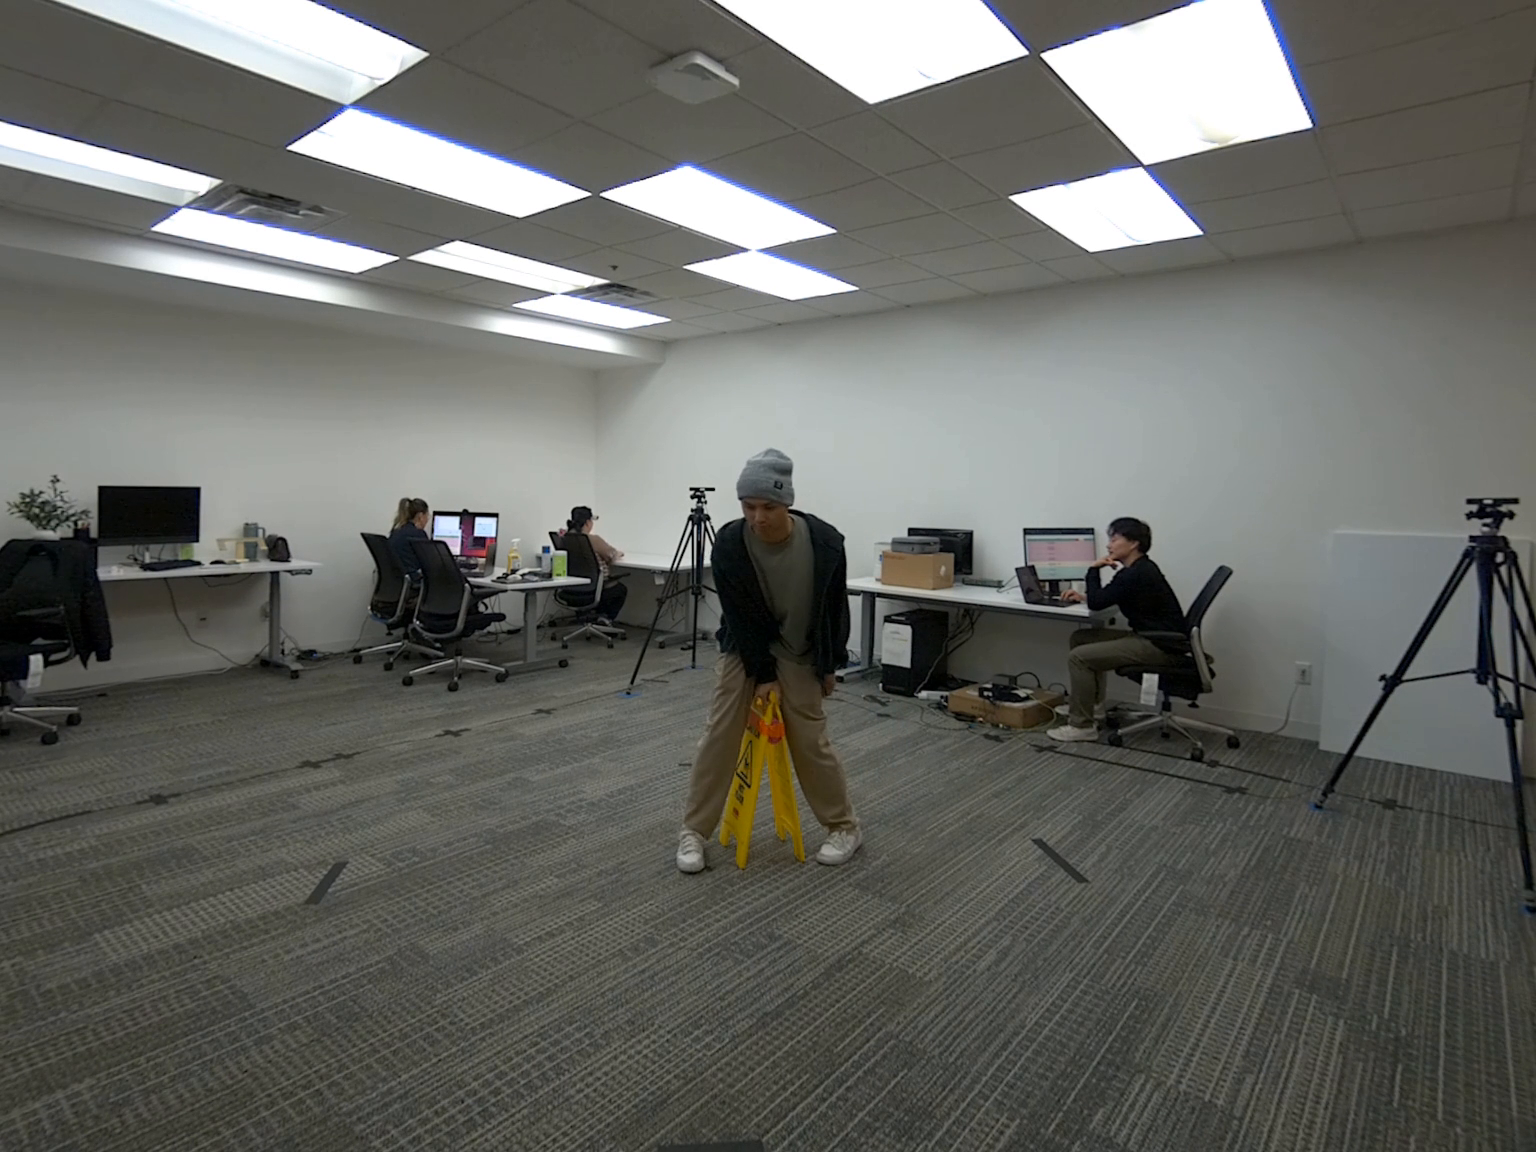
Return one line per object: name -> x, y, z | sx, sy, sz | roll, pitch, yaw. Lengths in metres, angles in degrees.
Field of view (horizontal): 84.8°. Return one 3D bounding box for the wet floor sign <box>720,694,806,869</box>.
wet floor sign -> -0.022, 0.734, 3.257 | 0.284, 0.644, 0.288 | 1, 4, -18
